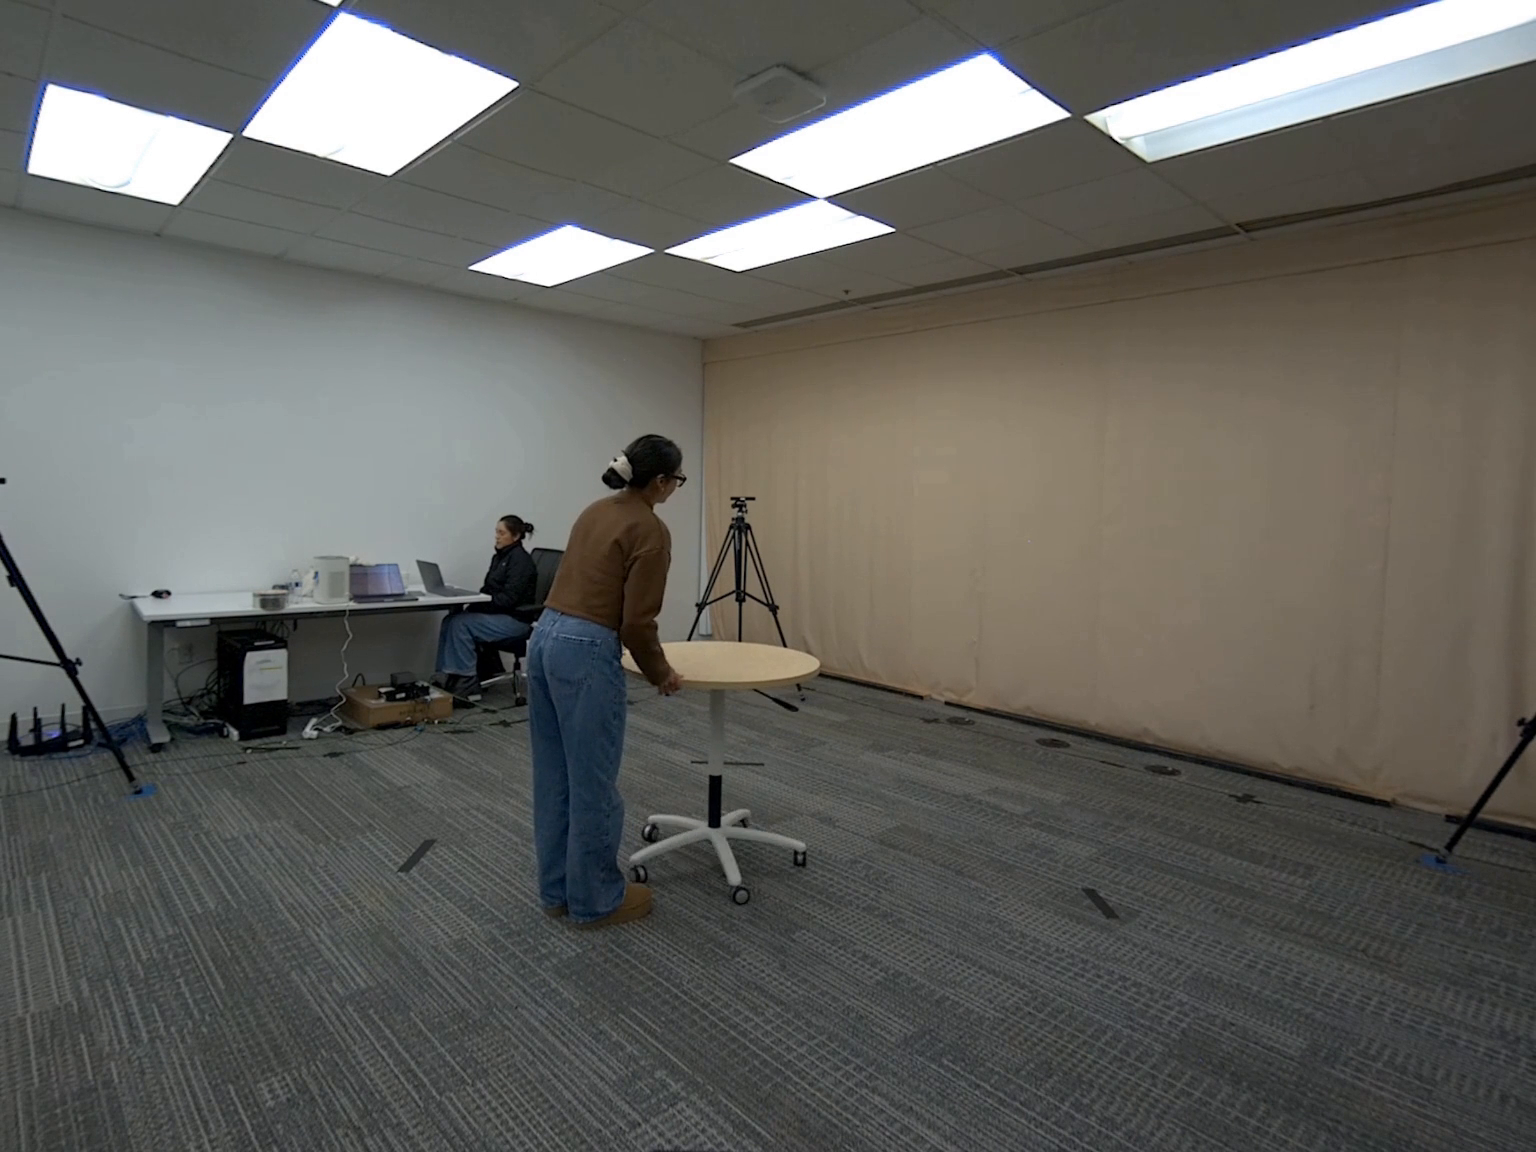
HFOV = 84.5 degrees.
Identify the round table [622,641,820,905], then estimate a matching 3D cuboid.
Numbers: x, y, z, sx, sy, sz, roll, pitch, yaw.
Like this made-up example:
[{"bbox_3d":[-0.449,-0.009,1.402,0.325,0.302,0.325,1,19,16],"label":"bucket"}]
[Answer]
[{"bbox_3d":[-0.207,0.707,3.202,0.763,0.792,0.767,1,4,-1],"label":"round table"}]
